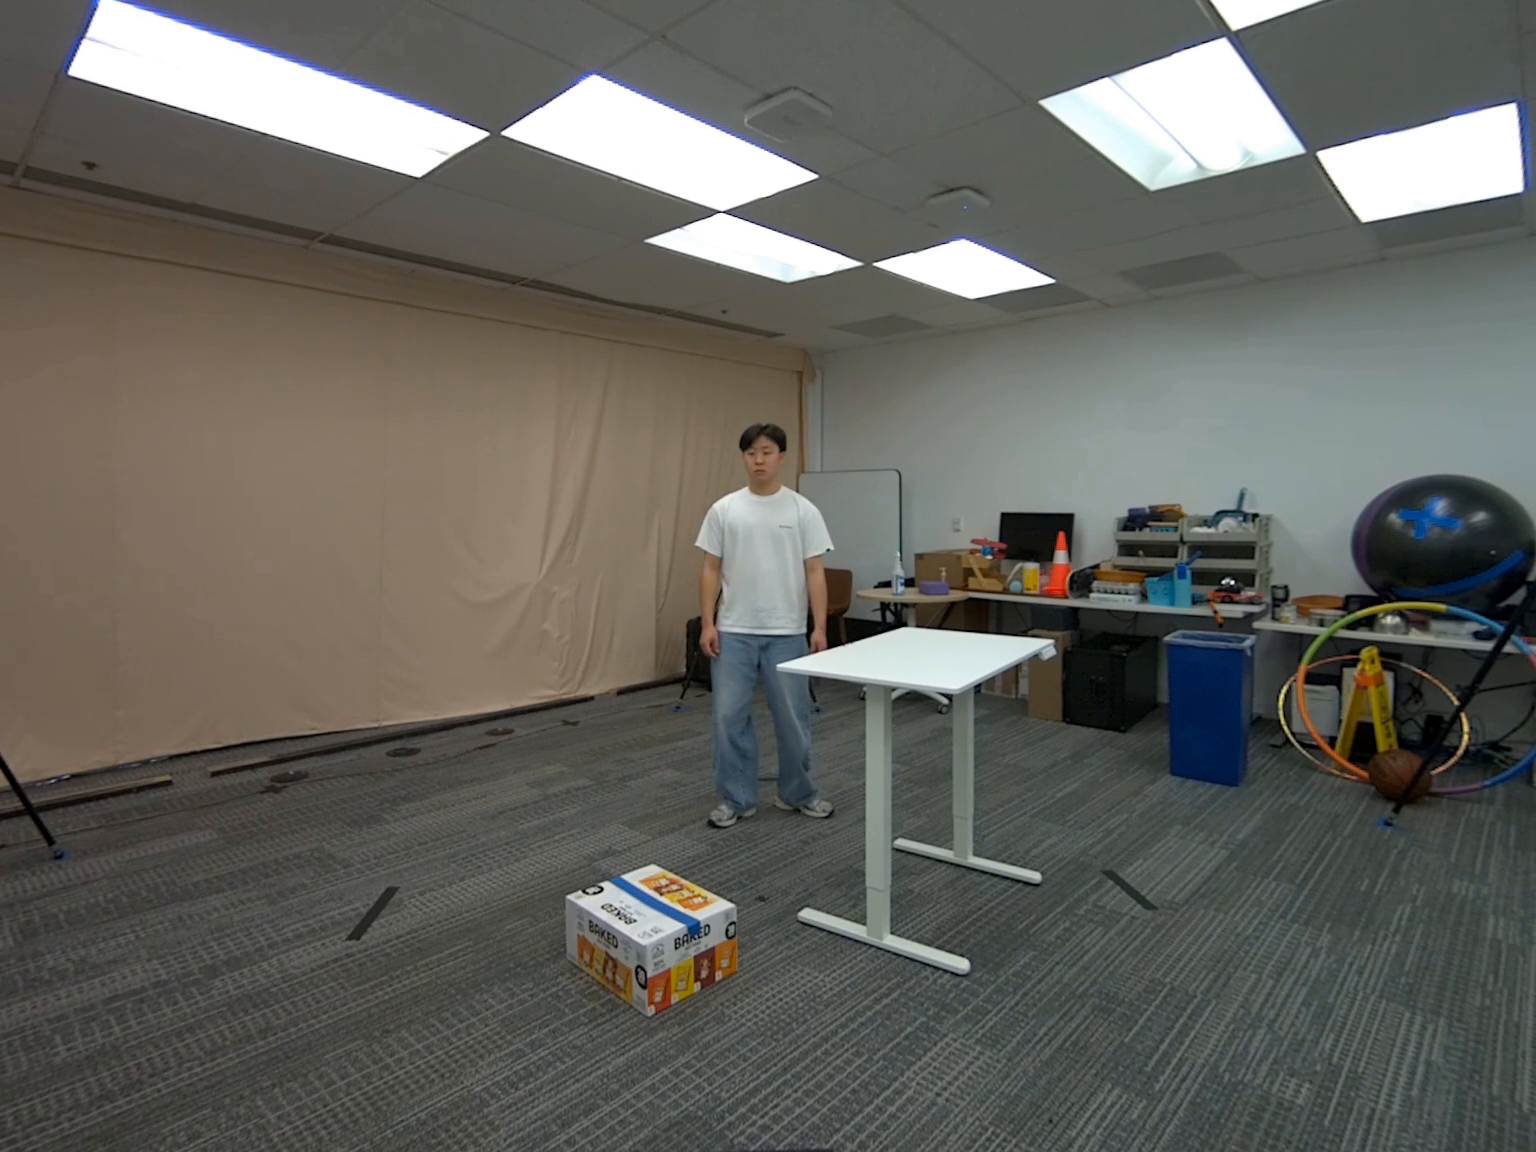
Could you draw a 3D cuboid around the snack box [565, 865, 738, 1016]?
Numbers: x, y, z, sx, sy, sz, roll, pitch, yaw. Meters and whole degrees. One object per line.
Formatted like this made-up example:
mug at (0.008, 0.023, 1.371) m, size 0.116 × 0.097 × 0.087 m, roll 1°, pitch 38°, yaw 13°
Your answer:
snack box at (-0.356, 1.082, 2.541) m, size 0.330 × 0.205 × 0.419 m, roll -4°, pitch 6°, yaw -44°
